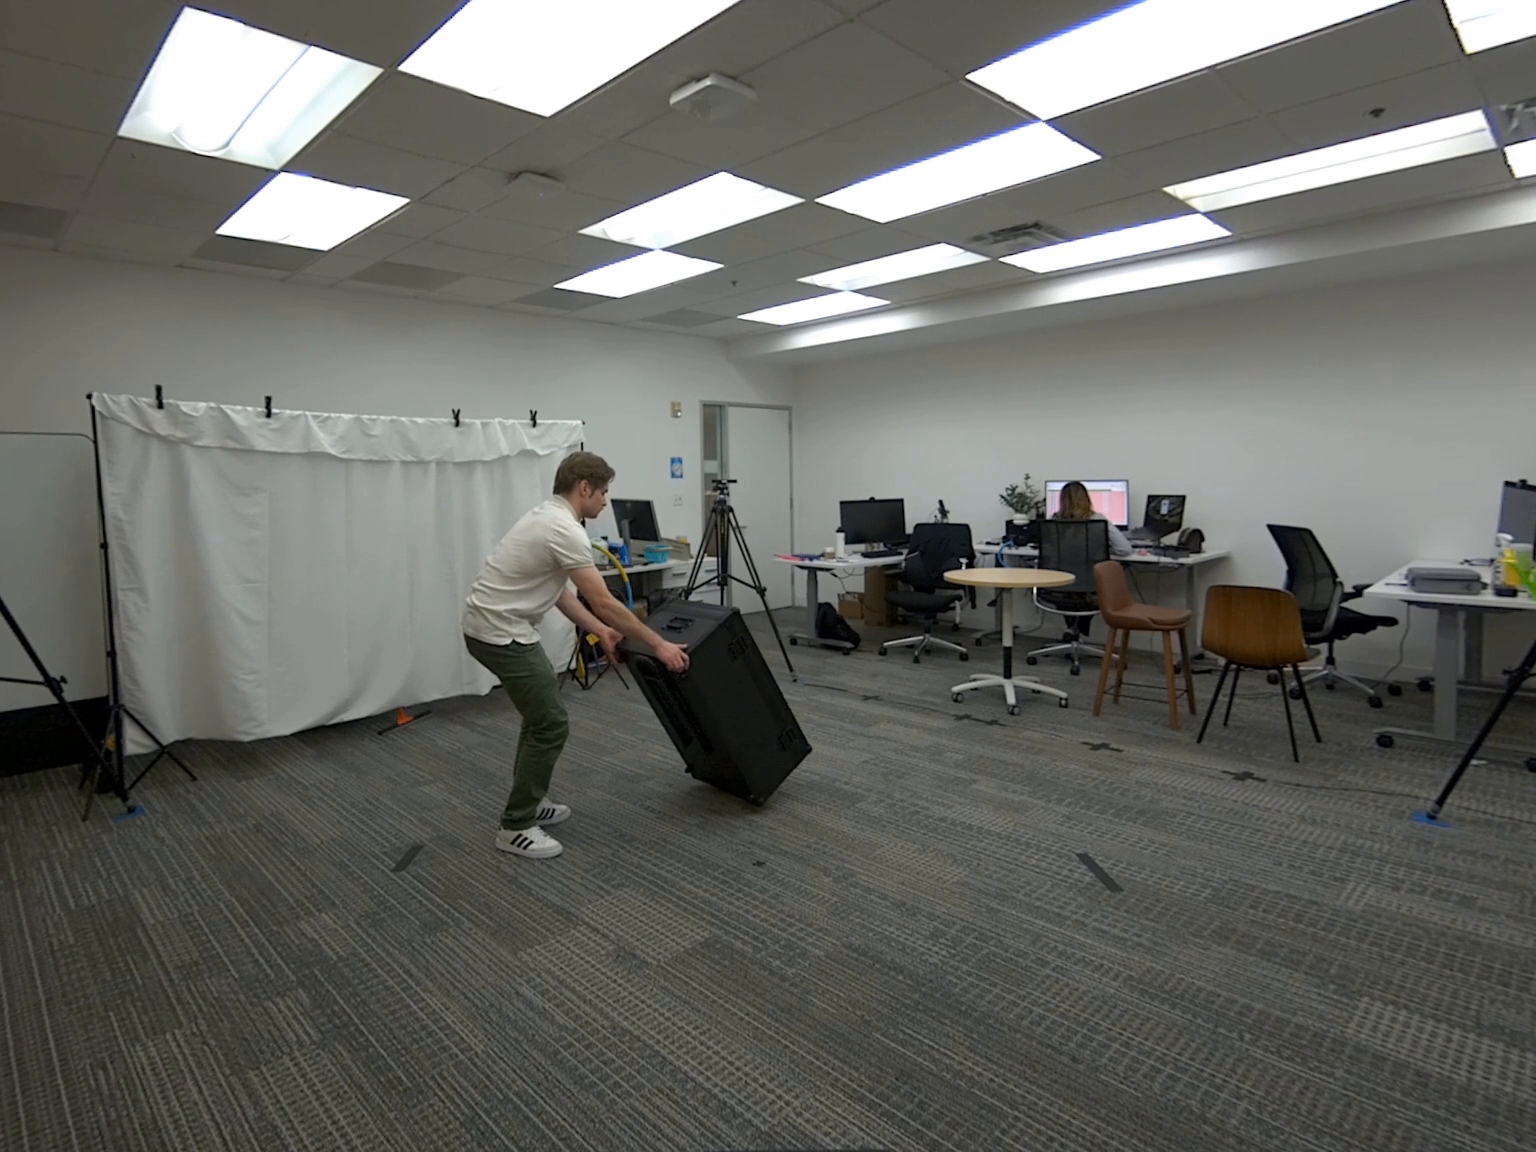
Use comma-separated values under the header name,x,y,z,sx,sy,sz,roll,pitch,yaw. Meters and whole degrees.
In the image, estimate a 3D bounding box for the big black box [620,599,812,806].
name,x,y,z,sx,sy,sz,roll,pitch,yaw
big black box,-0.223,0.563,3.703,0.395,0.839,0.537,-41,26,-30
